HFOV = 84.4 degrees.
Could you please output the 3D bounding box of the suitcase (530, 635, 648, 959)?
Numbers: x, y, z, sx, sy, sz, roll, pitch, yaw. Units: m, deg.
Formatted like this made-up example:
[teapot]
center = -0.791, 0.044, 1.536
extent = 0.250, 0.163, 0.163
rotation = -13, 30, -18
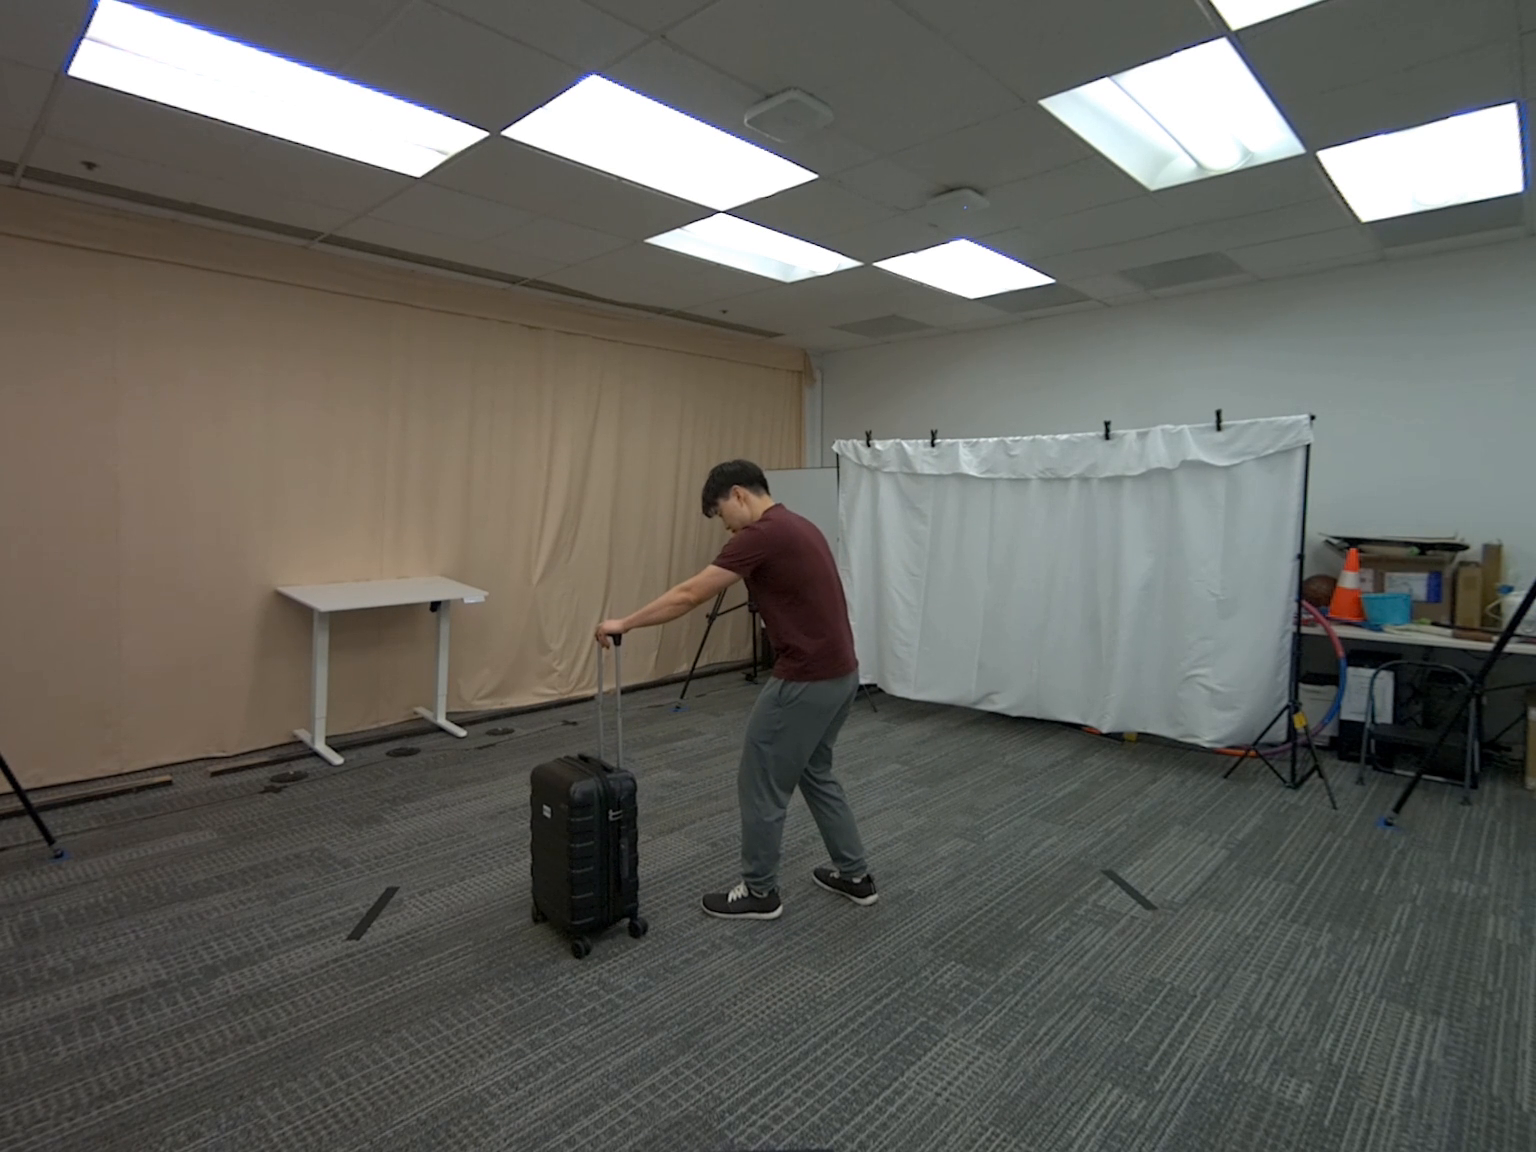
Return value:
[suitcase]
center = -0.627, 0.695, 2.771
extent = 0.249, 0.976, 0.396
rotation = -6, 4, -39
